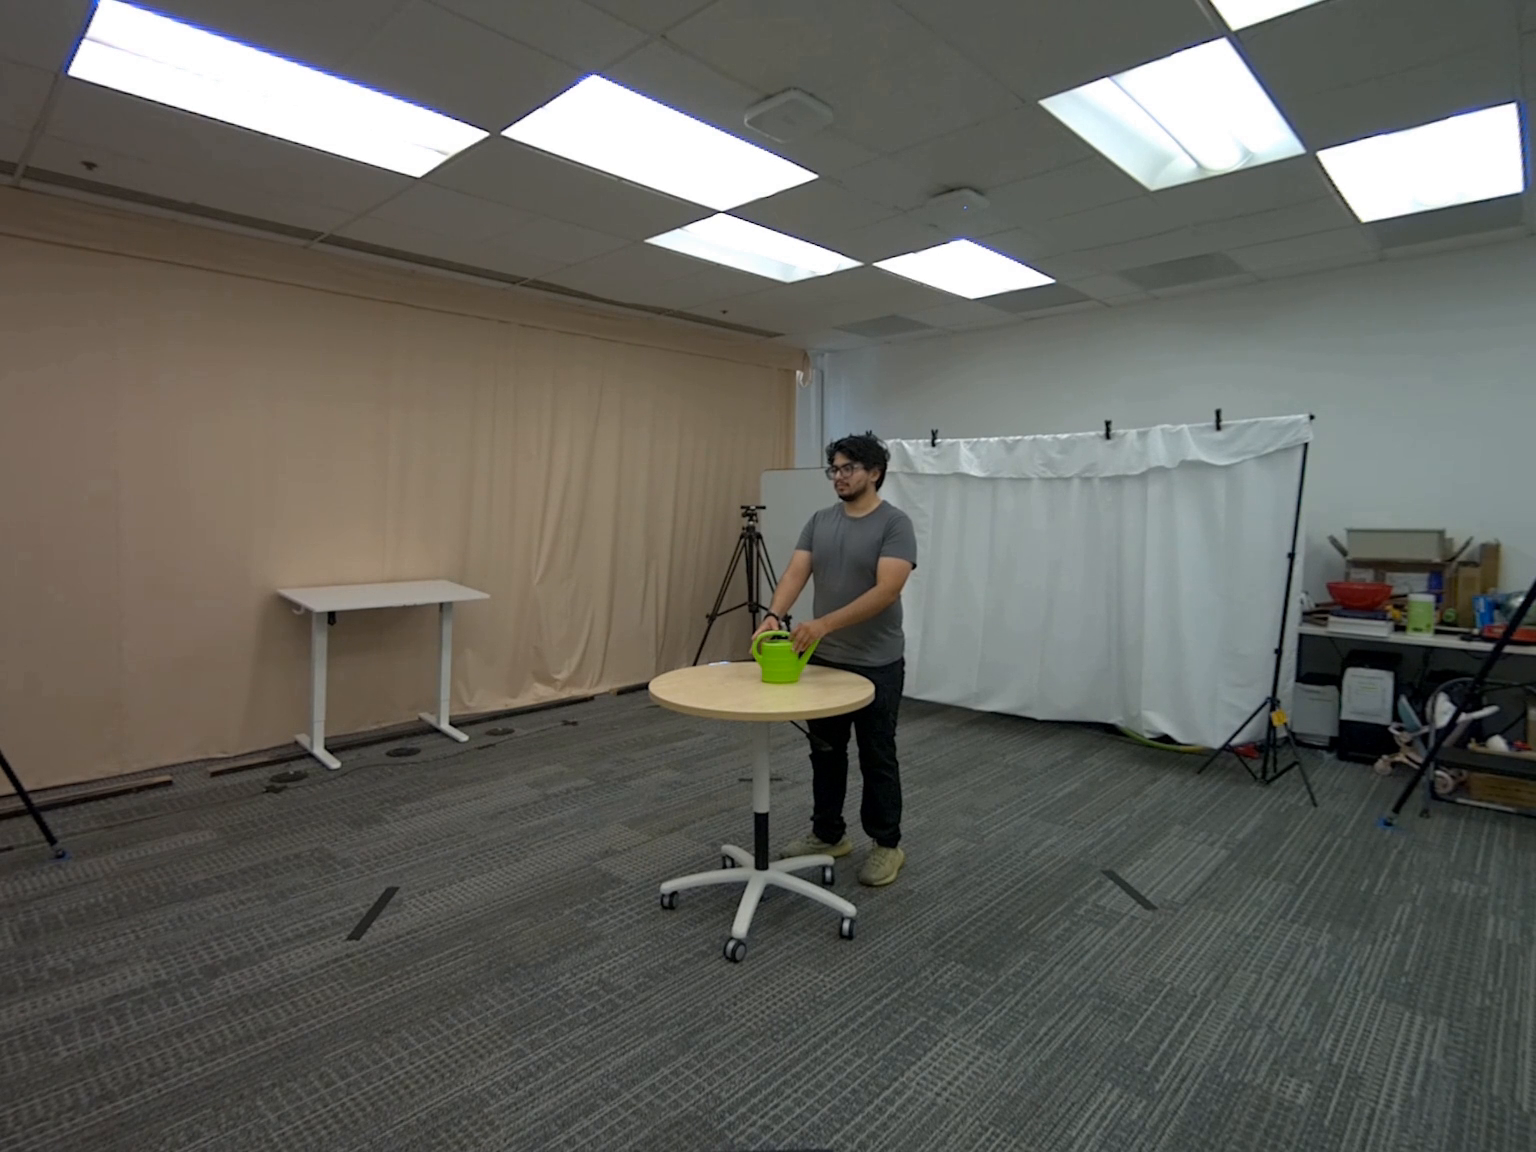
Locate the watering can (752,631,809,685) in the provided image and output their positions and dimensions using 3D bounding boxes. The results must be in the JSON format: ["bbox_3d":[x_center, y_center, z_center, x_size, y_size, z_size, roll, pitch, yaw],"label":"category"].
[{"bbox_3d":[0.086,0.286,2.913,0.280,0.176,0.097,0,3,7],"label":"watering can"}]
